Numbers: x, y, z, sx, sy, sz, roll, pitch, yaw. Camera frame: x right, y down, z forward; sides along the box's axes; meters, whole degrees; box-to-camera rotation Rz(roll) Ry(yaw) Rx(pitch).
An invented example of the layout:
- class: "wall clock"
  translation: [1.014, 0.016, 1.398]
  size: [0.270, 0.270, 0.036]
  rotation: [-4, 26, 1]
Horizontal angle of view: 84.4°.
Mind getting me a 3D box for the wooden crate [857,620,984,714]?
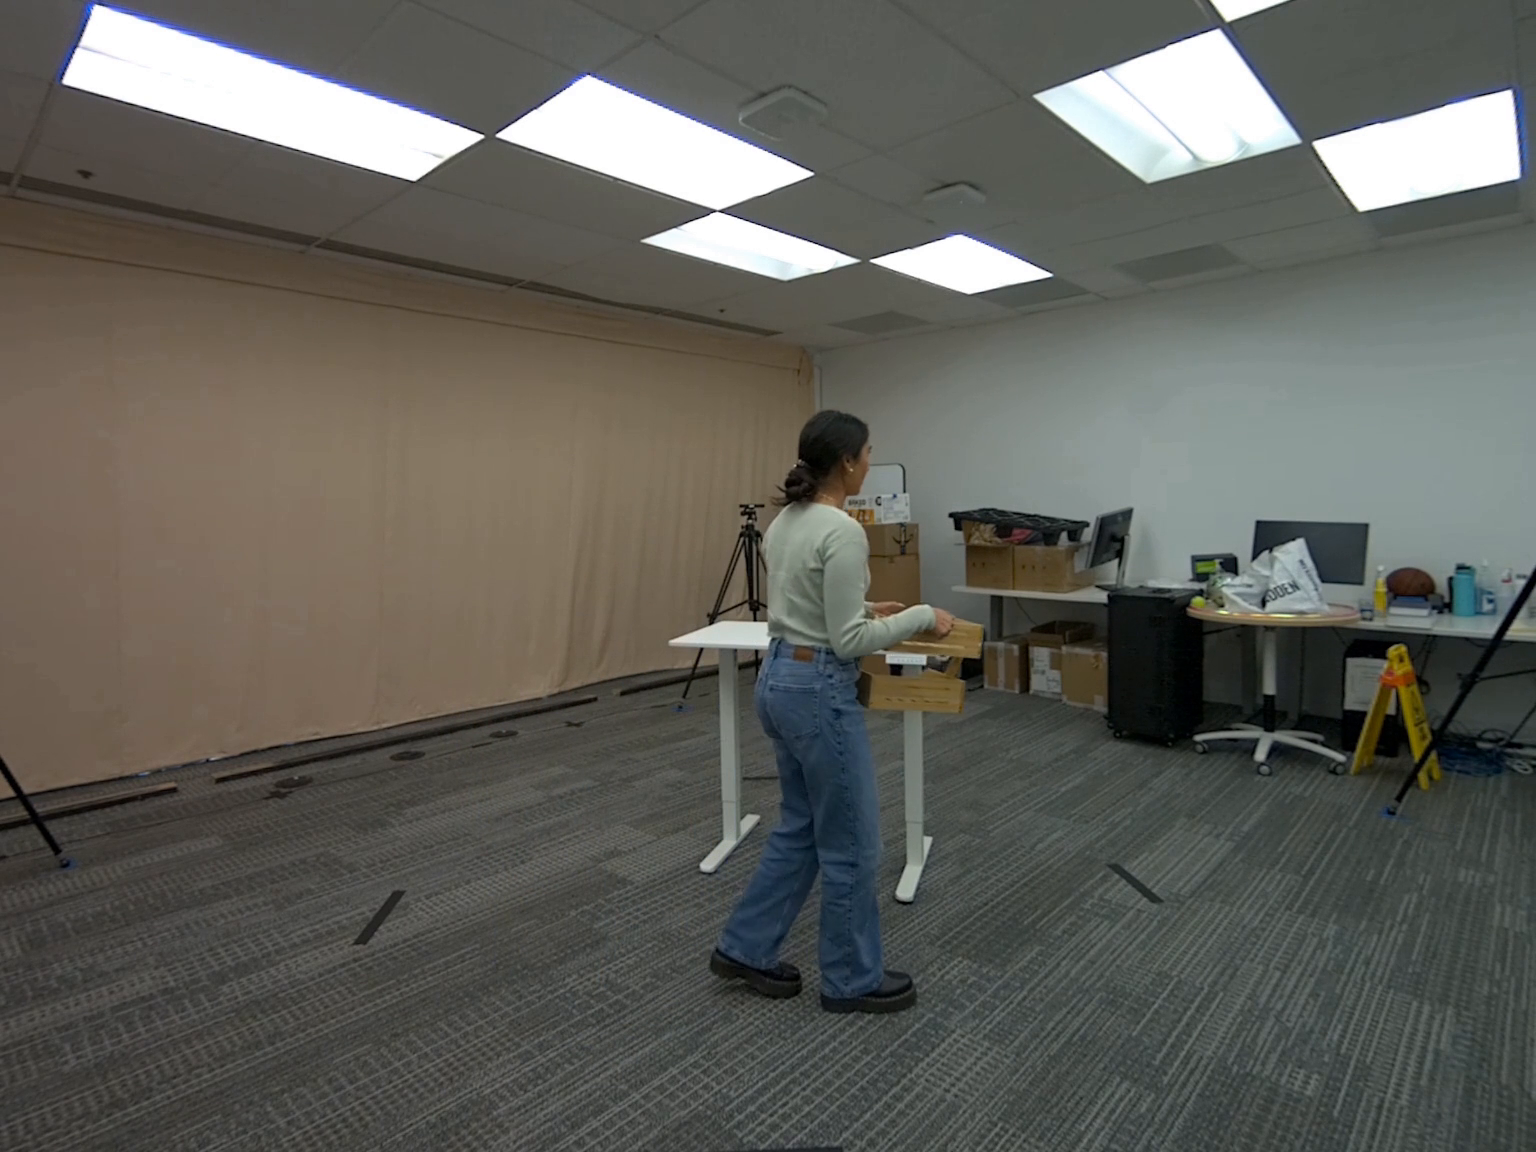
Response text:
- class: "wooden crate"
  translation: [0.400, 0.234, 2.431]
  size: [0.318, 0.273, 0.309]
  rotation: [5, 3, -20]
